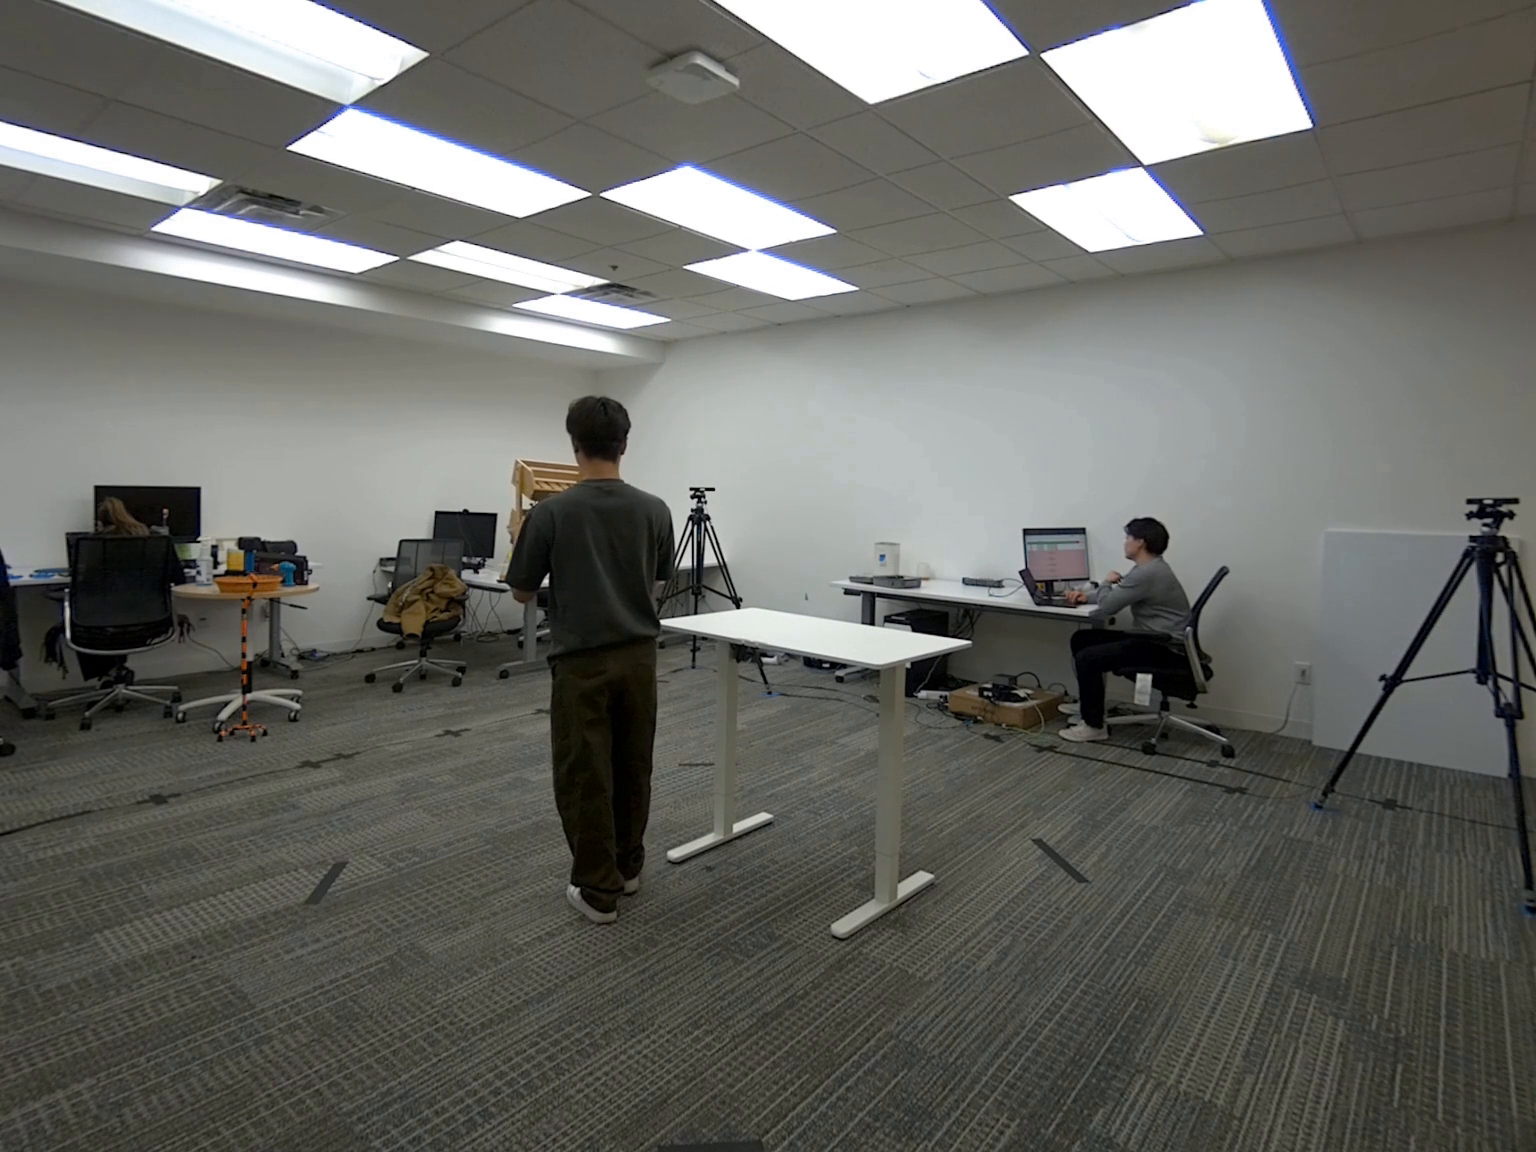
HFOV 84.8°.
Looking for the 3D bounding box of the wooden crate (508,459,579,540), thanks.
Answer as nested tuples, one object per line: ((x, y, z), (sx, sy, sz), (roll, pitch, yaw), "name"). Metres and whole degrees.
((-0.737, -0.245, 3.045), (0.314, 0.270, 0.315), (3, 20, -37), "wooden crate")
